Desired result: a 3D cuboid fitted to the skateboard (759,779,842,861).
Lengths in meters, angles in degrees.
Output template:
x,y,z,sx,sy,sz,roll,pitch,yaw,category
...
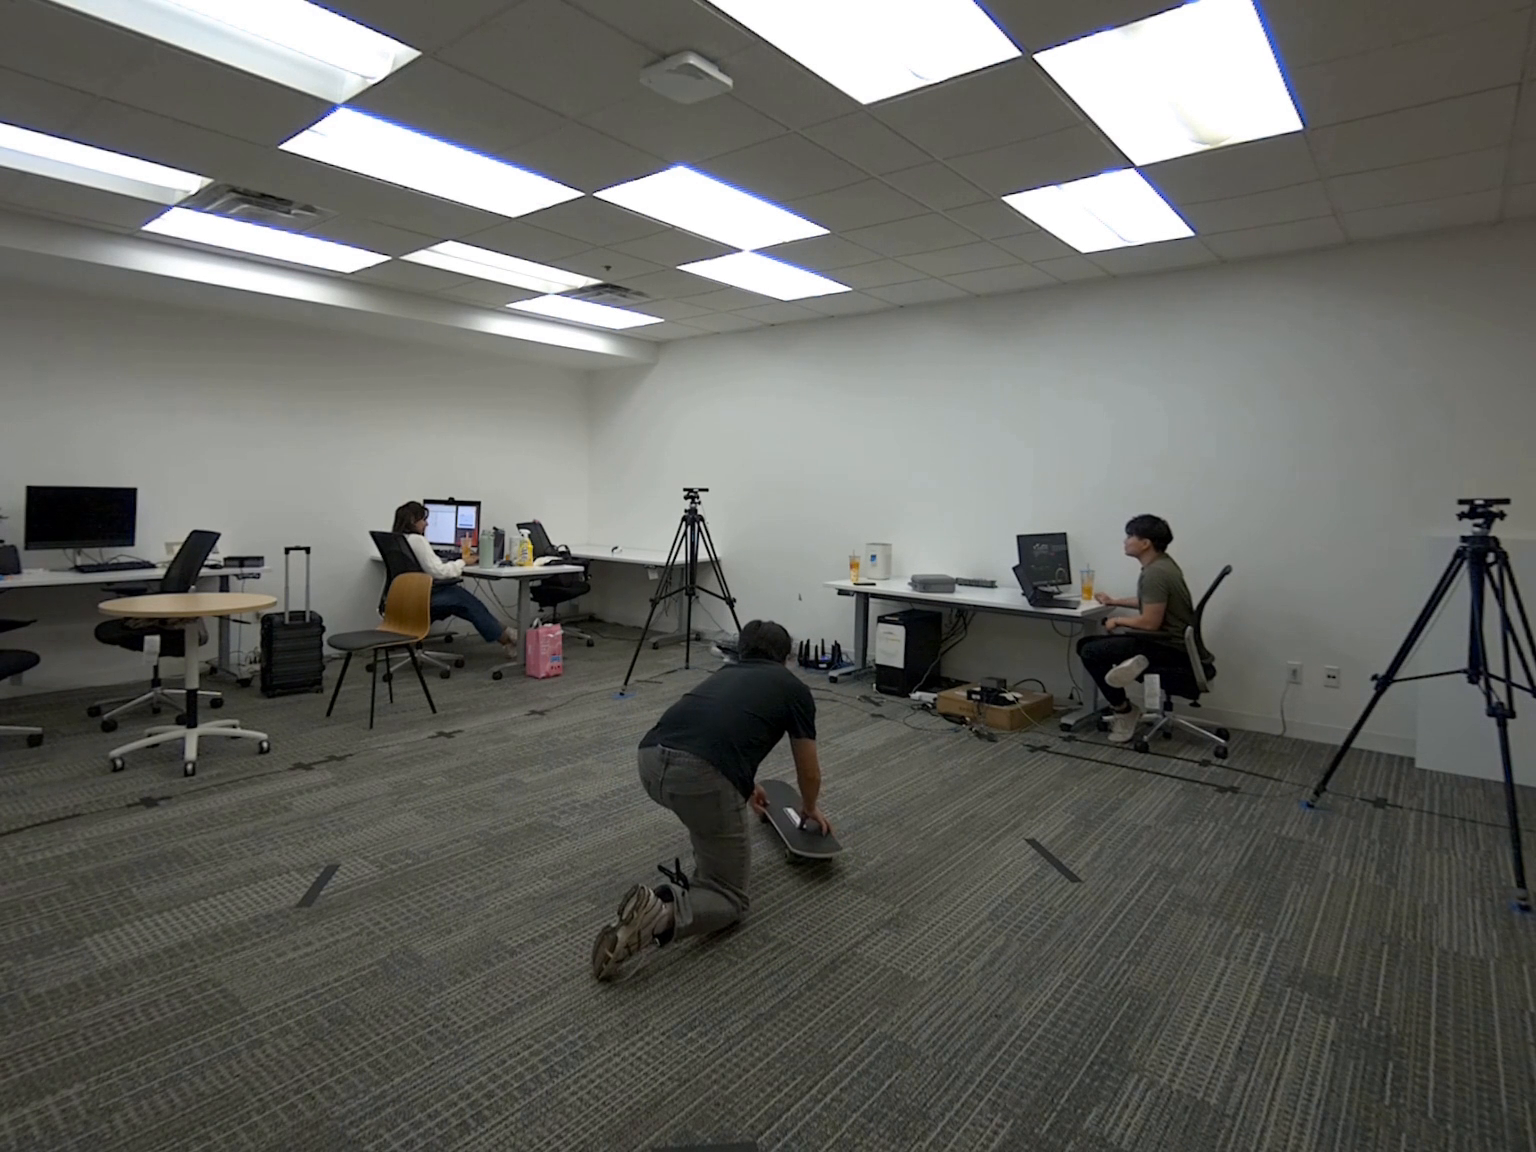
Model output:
x,y,z,sx,sy,sz,roll,pitch,yaw,category
0.095,0.989,3.391,0.191,0.110,0.800,0,6,-15,skateboard
